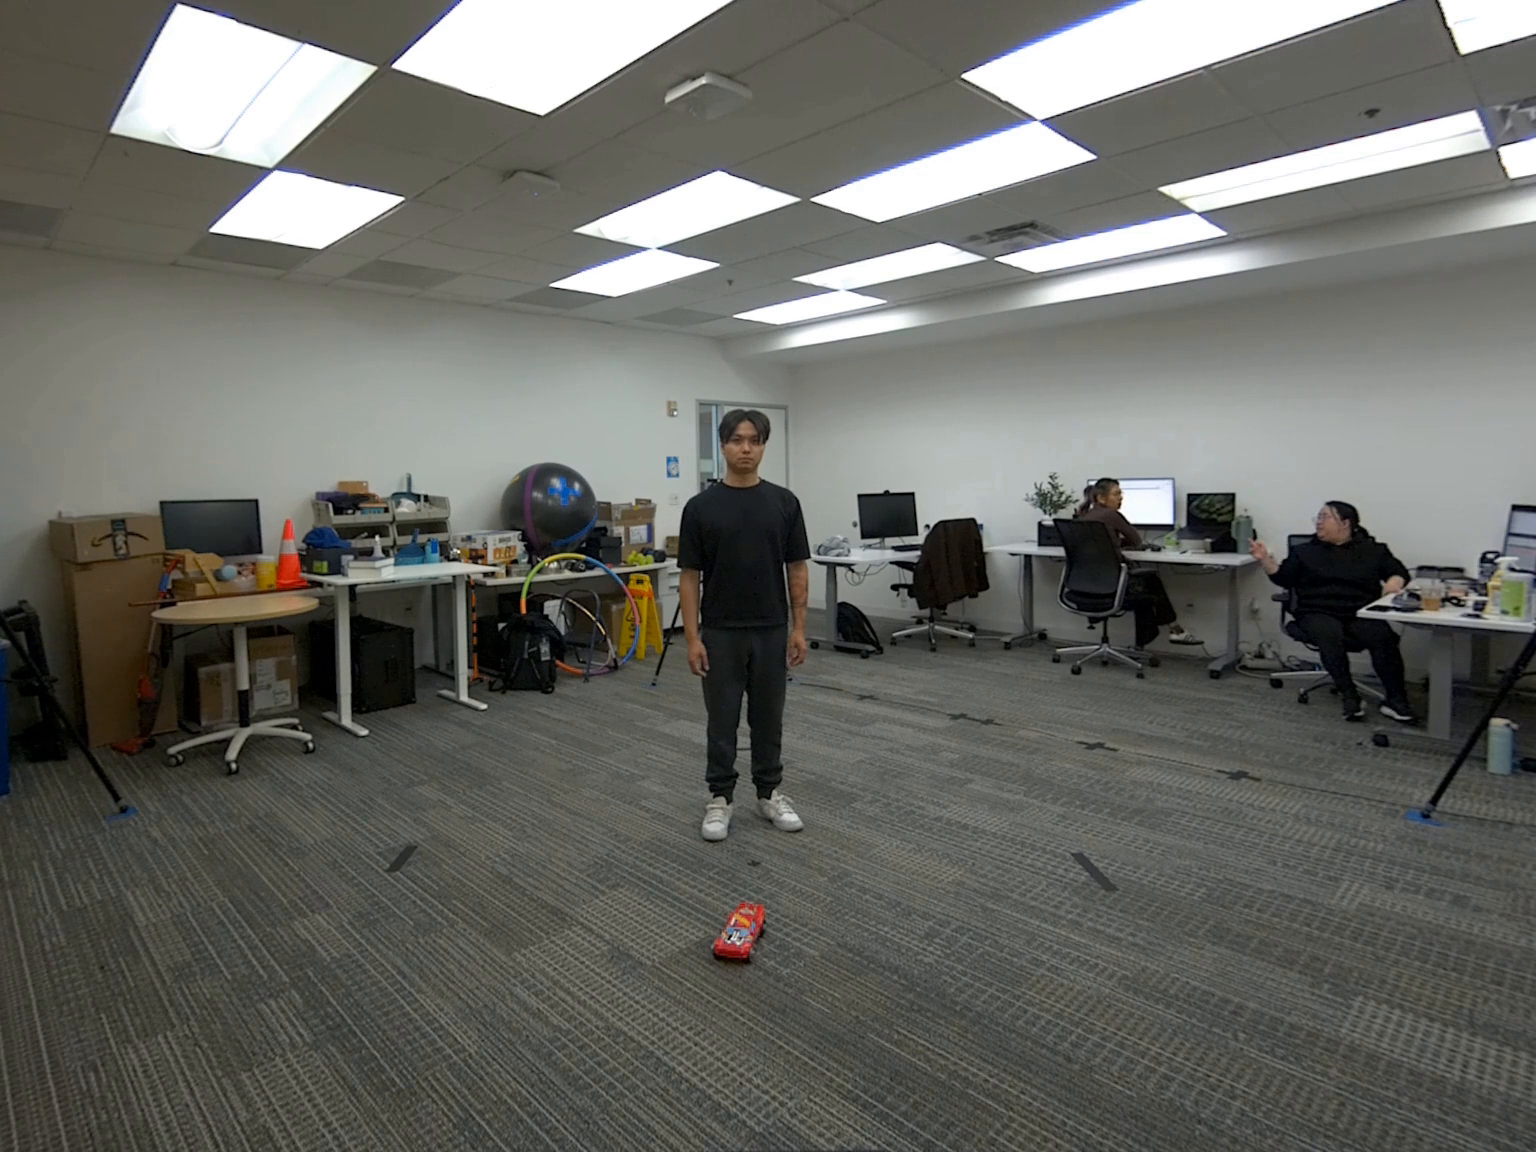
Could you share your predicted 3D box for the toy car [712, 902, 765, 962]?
[{"bbox_3d":[-0.073,1.080,2.573,0.132,0.082,0.254,2,17,16],"label":"toy car"}]
